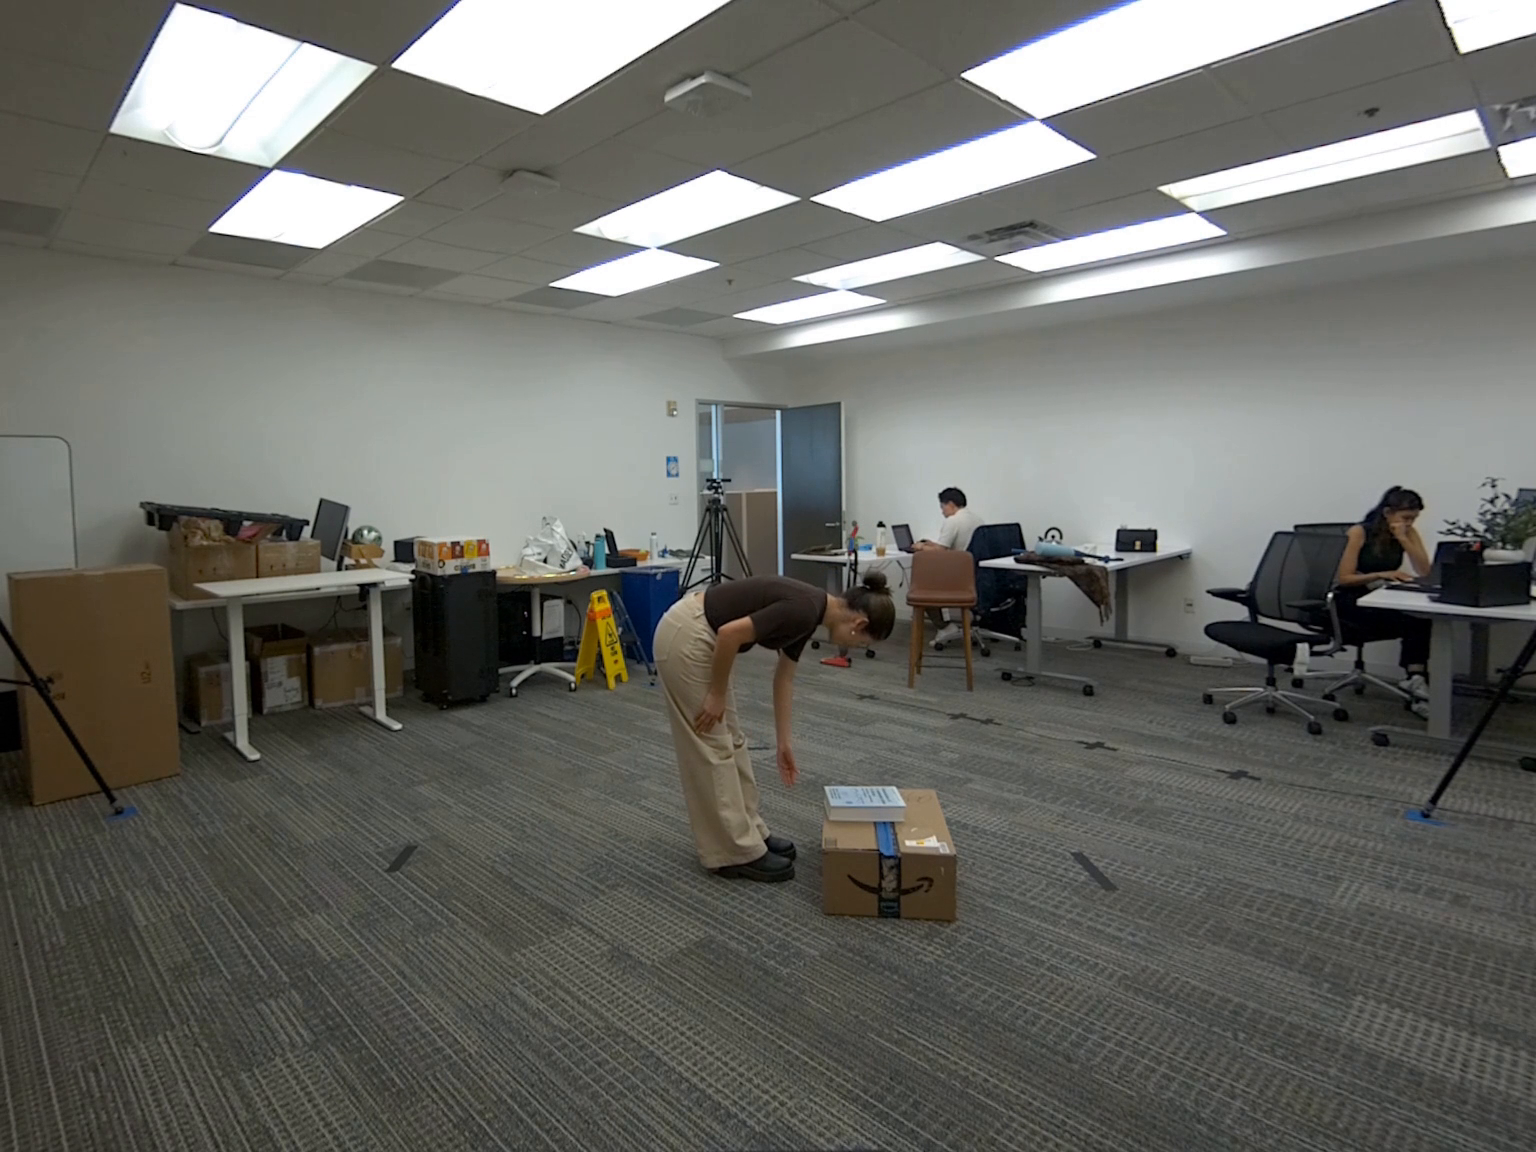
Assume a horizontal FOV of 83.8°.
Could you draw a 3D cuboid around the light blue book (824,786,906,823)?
[{"bbox_3d":[0.336,0.799,3.029,0.261,0.059,0.192,0,7,0],"label":"light blue book"}]
